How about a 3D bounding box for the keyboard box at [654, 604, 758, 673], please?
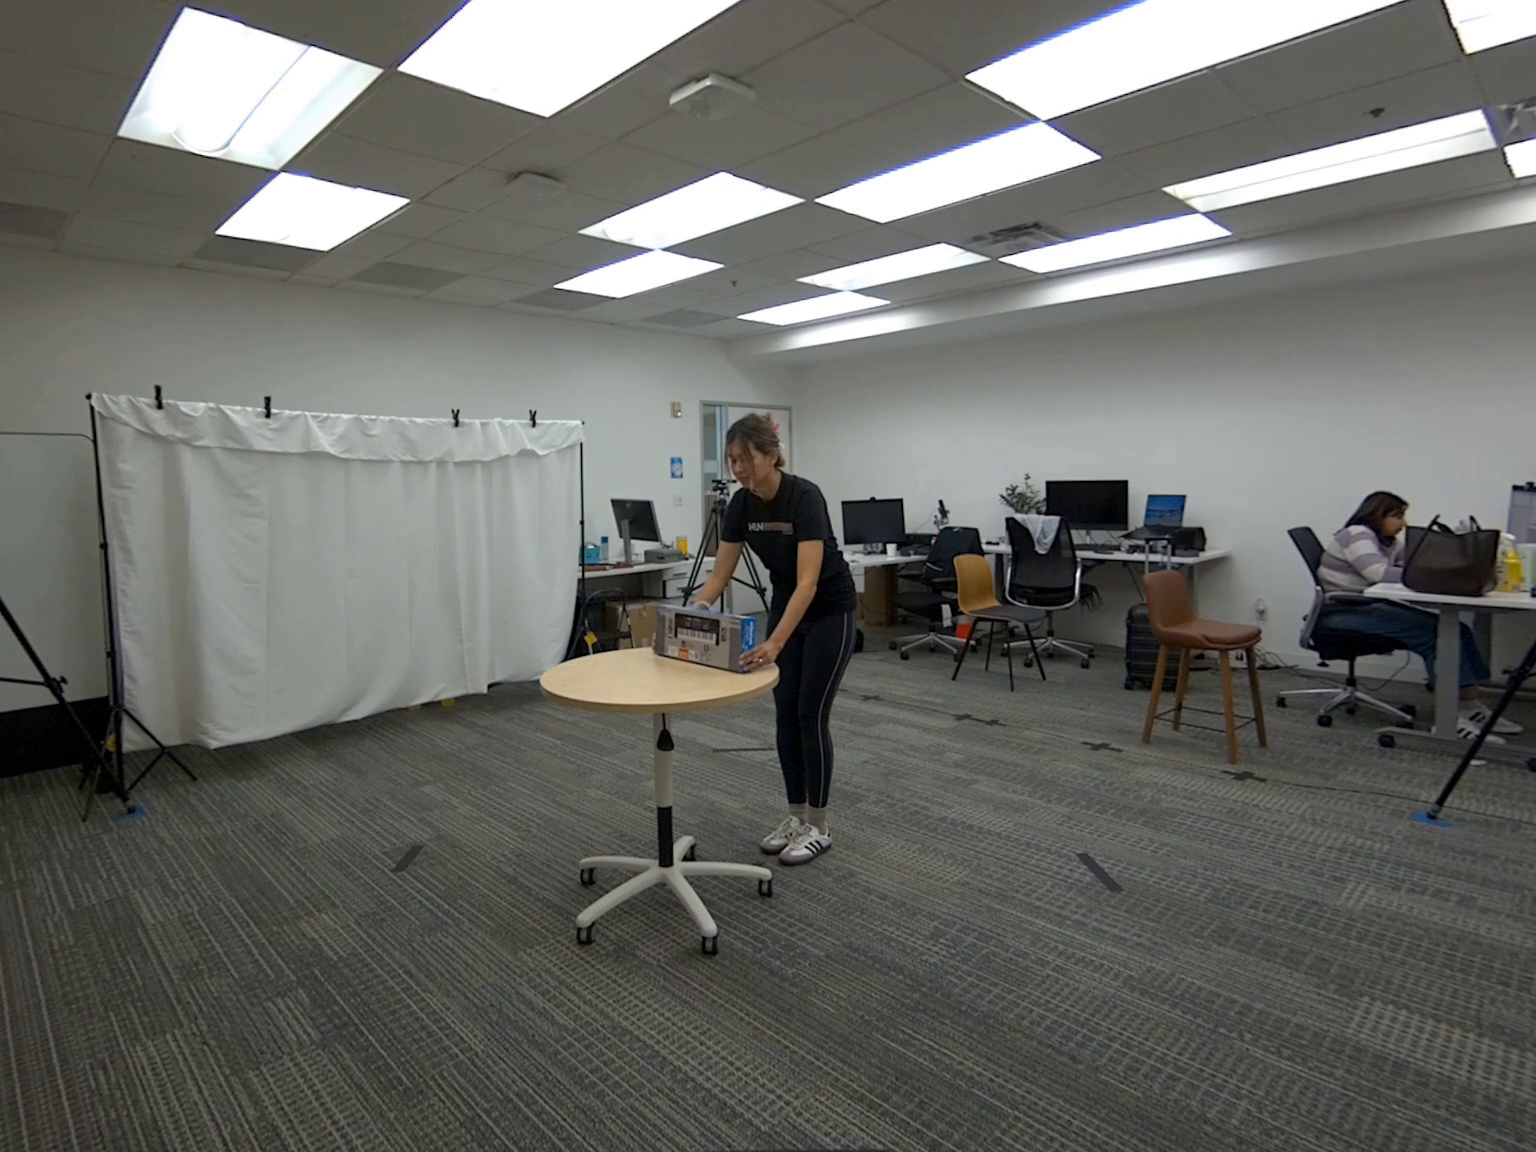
[{"bbox_3d":[-0.220,0.205,2.874,0.057,0.176,0.450,3,2,-45],"label":"keyboard box"}]
